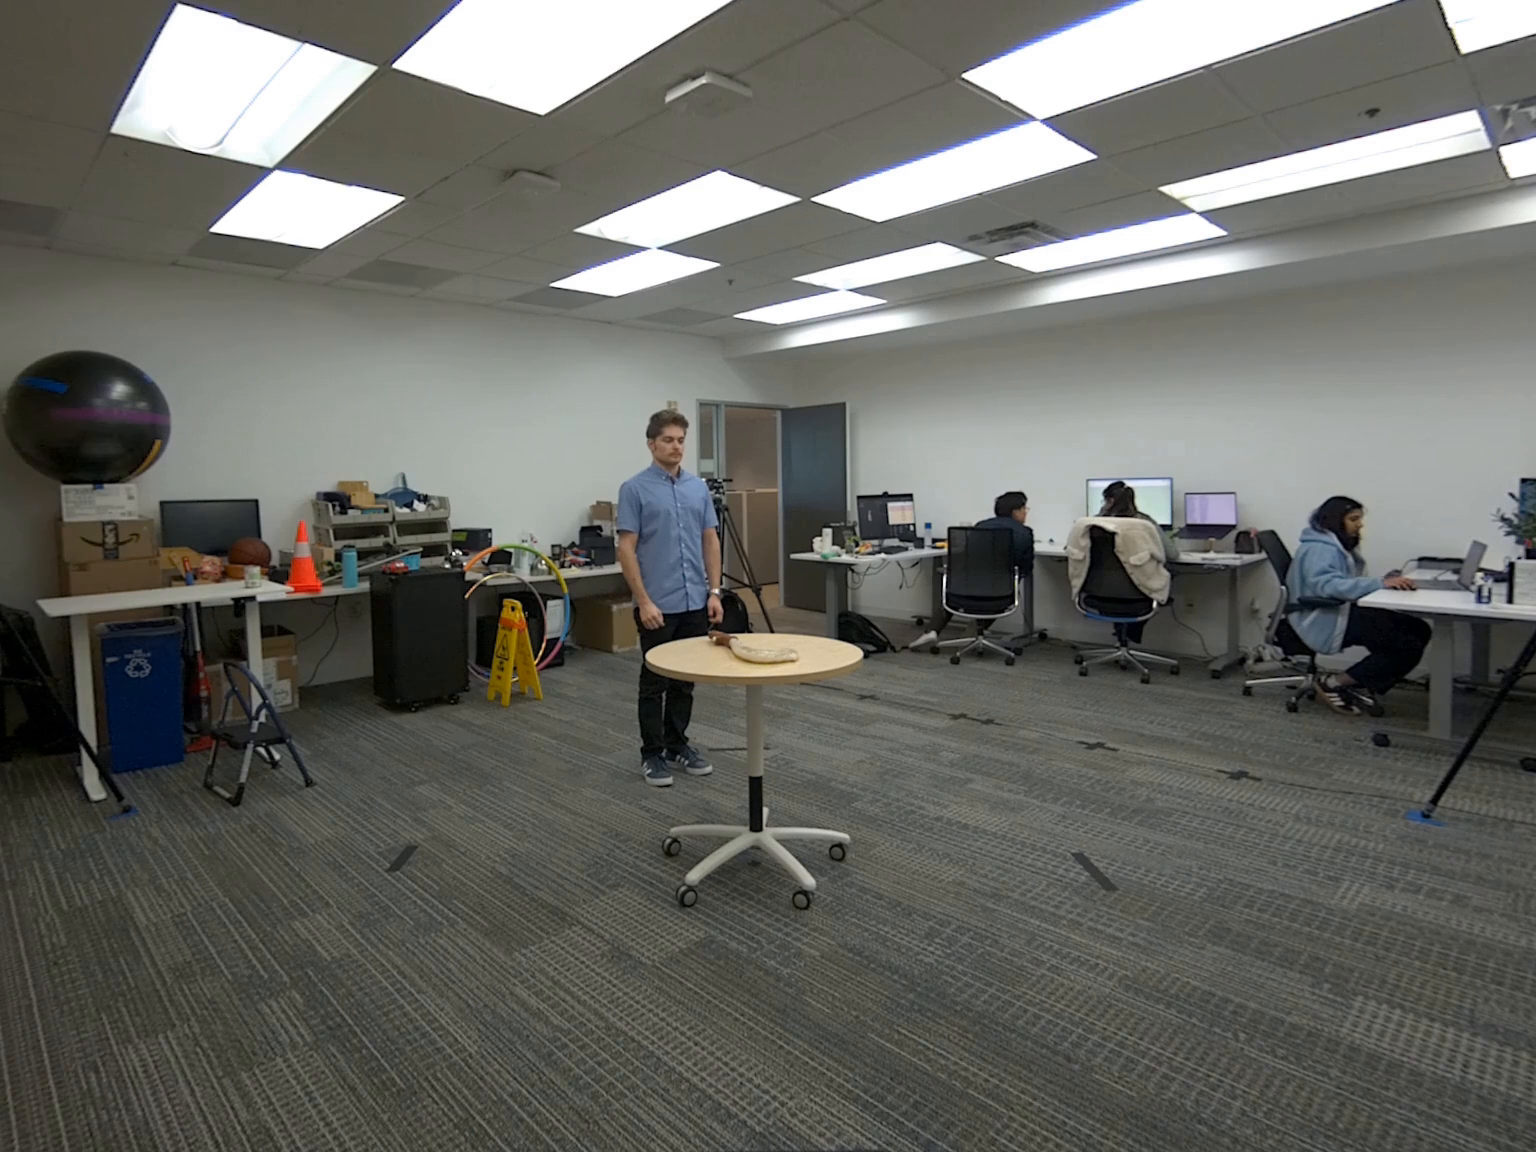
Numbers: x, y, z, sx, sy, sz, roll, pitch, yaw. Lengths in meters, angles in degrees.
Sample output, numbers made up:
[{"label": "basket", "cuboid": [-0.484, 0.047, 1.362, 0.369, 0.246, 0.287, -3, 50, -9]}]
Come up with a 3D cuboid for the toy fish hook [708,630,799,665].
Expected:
[{"label": "toy fish hook", "cuboid": [-0.063, 0.256, 3.059, 0.220, 0.048, 0.519, 3, 5, -24]}]
